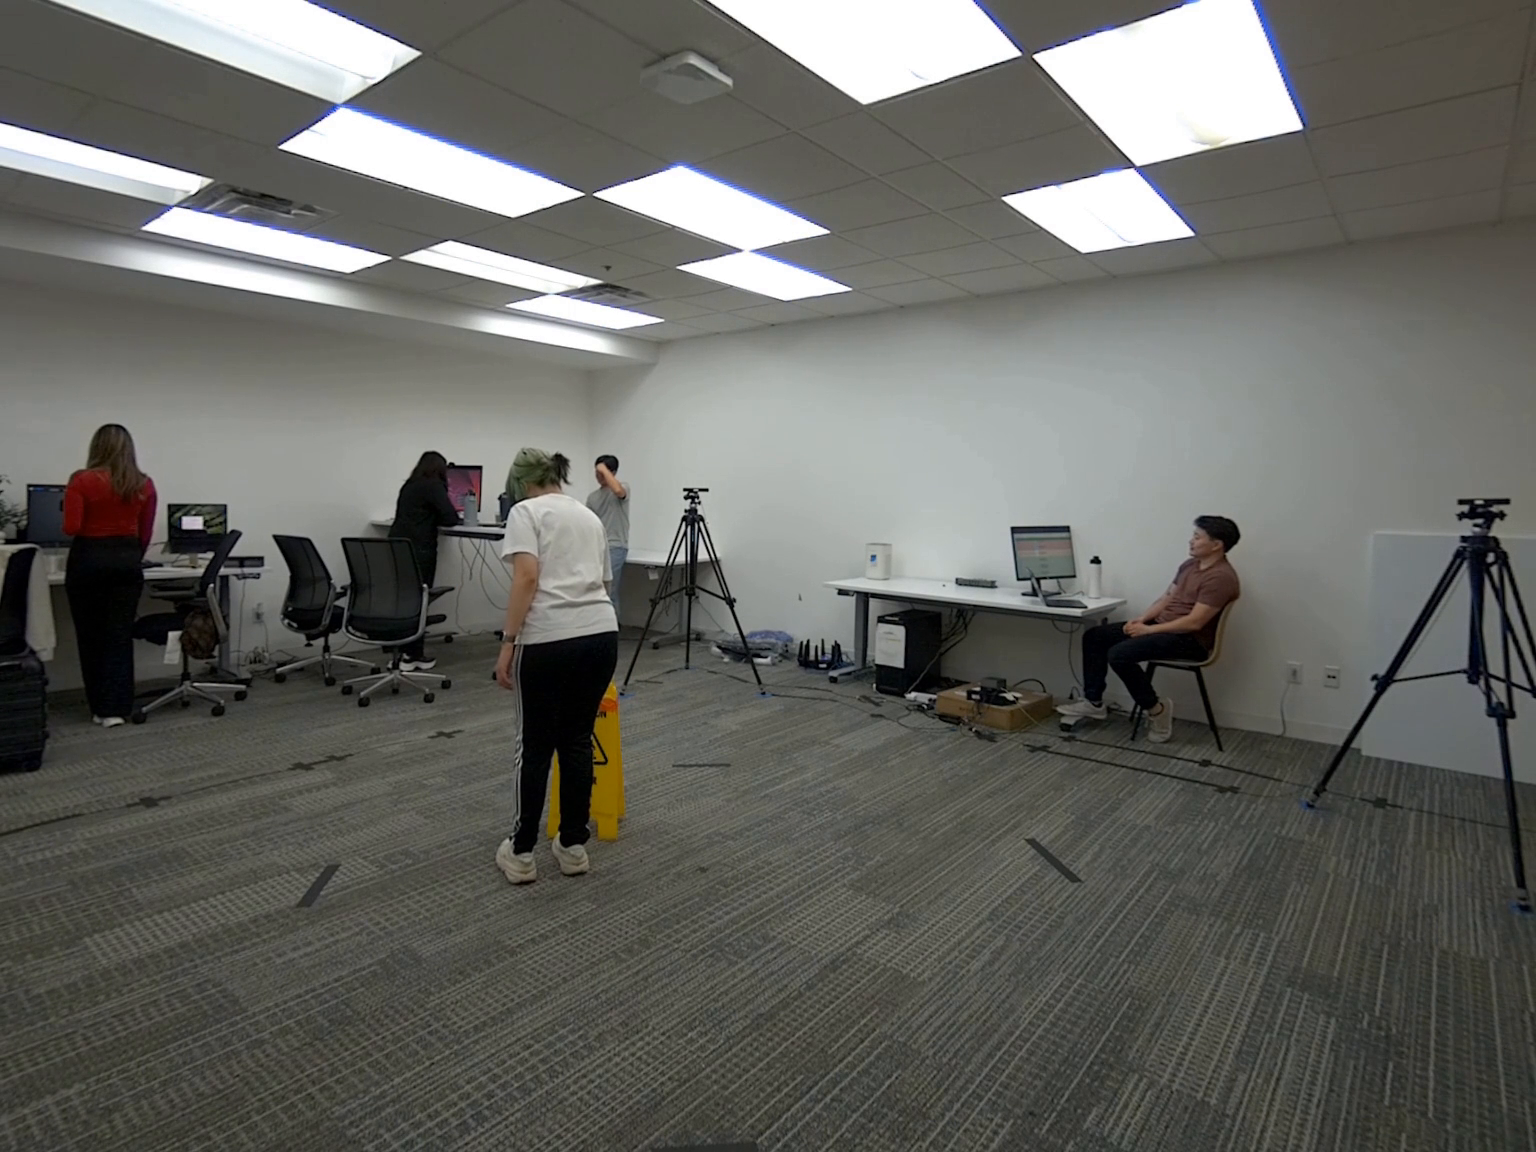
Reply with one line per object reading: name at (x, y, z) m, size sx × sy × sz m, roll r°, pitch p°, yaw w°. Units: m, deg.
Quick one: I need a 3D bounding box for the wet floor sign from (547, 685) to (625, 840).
wet floor sign at (-0.748, 0.690, 3.444) m, size 0.282 × 0.645 × 0.290 m, roll 1°, pitch 2°, yaw -1°
